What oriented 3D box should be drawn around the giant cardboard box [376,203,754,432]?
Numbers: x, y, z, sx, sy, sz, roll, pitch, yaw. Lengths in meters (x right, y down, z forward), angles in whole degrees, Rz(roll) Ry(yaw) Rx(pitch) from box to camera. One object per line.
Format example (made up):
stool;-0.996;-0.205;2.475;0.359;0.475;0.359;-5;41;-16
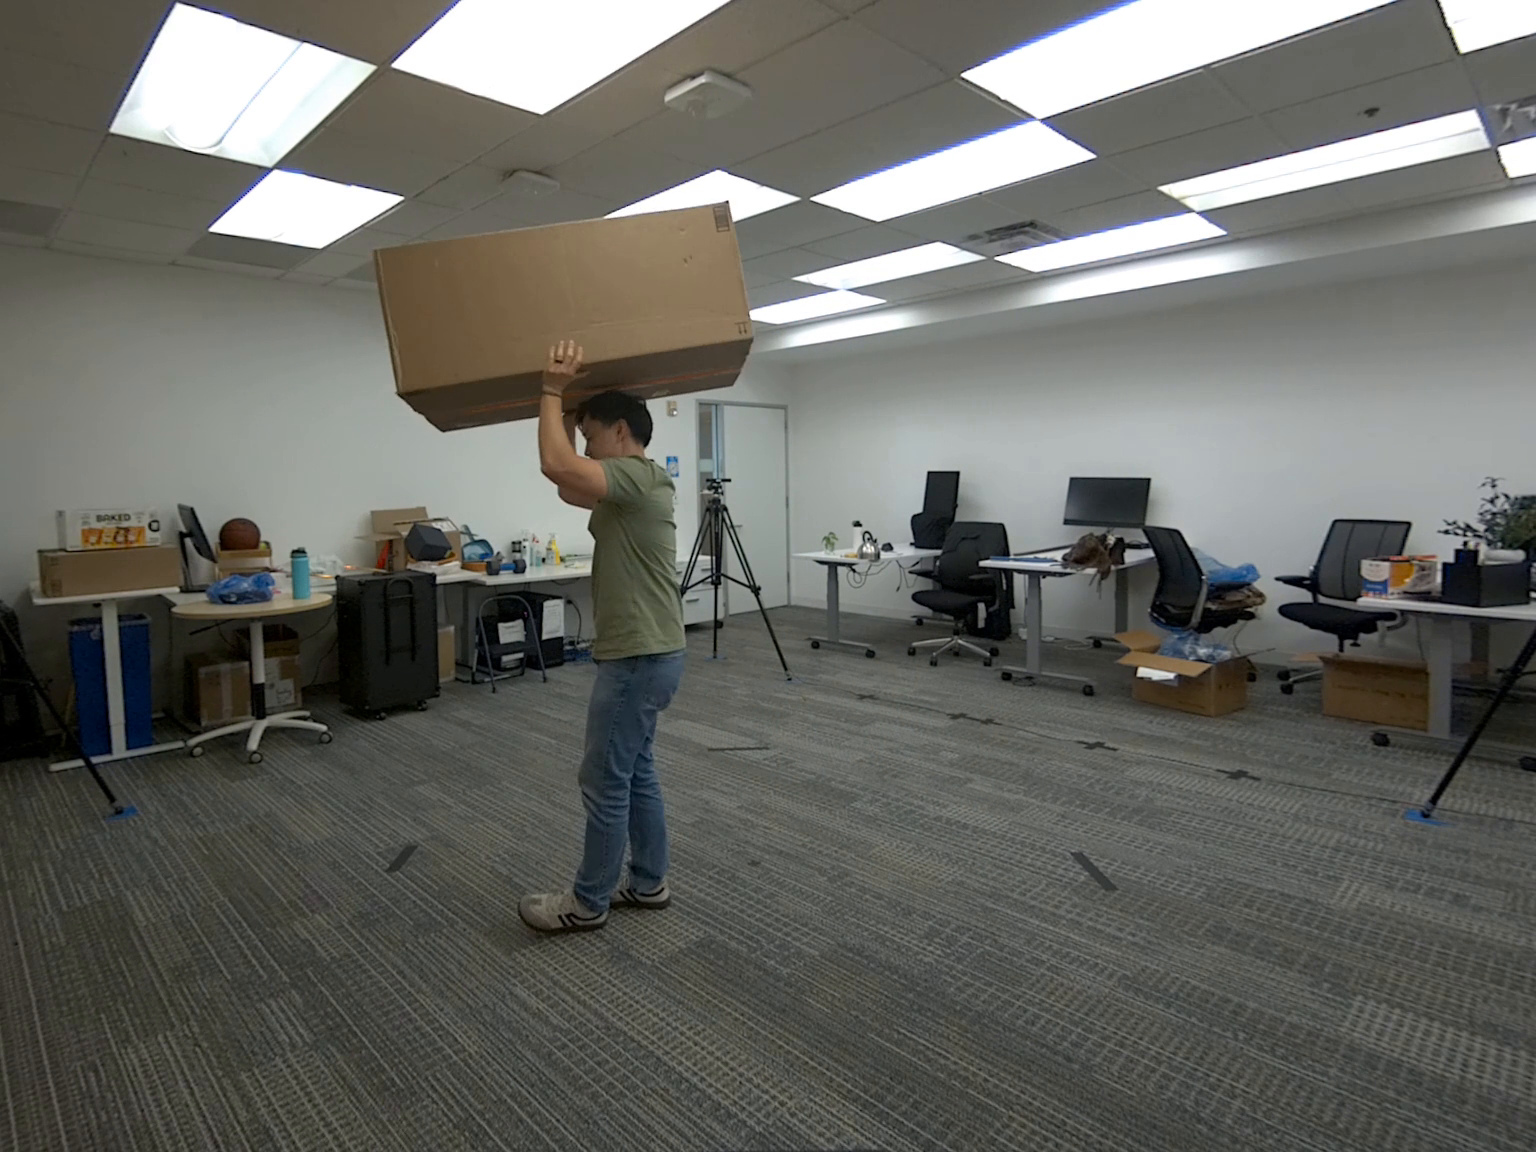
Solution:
giant cardboard box;-0.610;-0.791;2.711;1.020;0.427;0.579;-11;-1;-7
